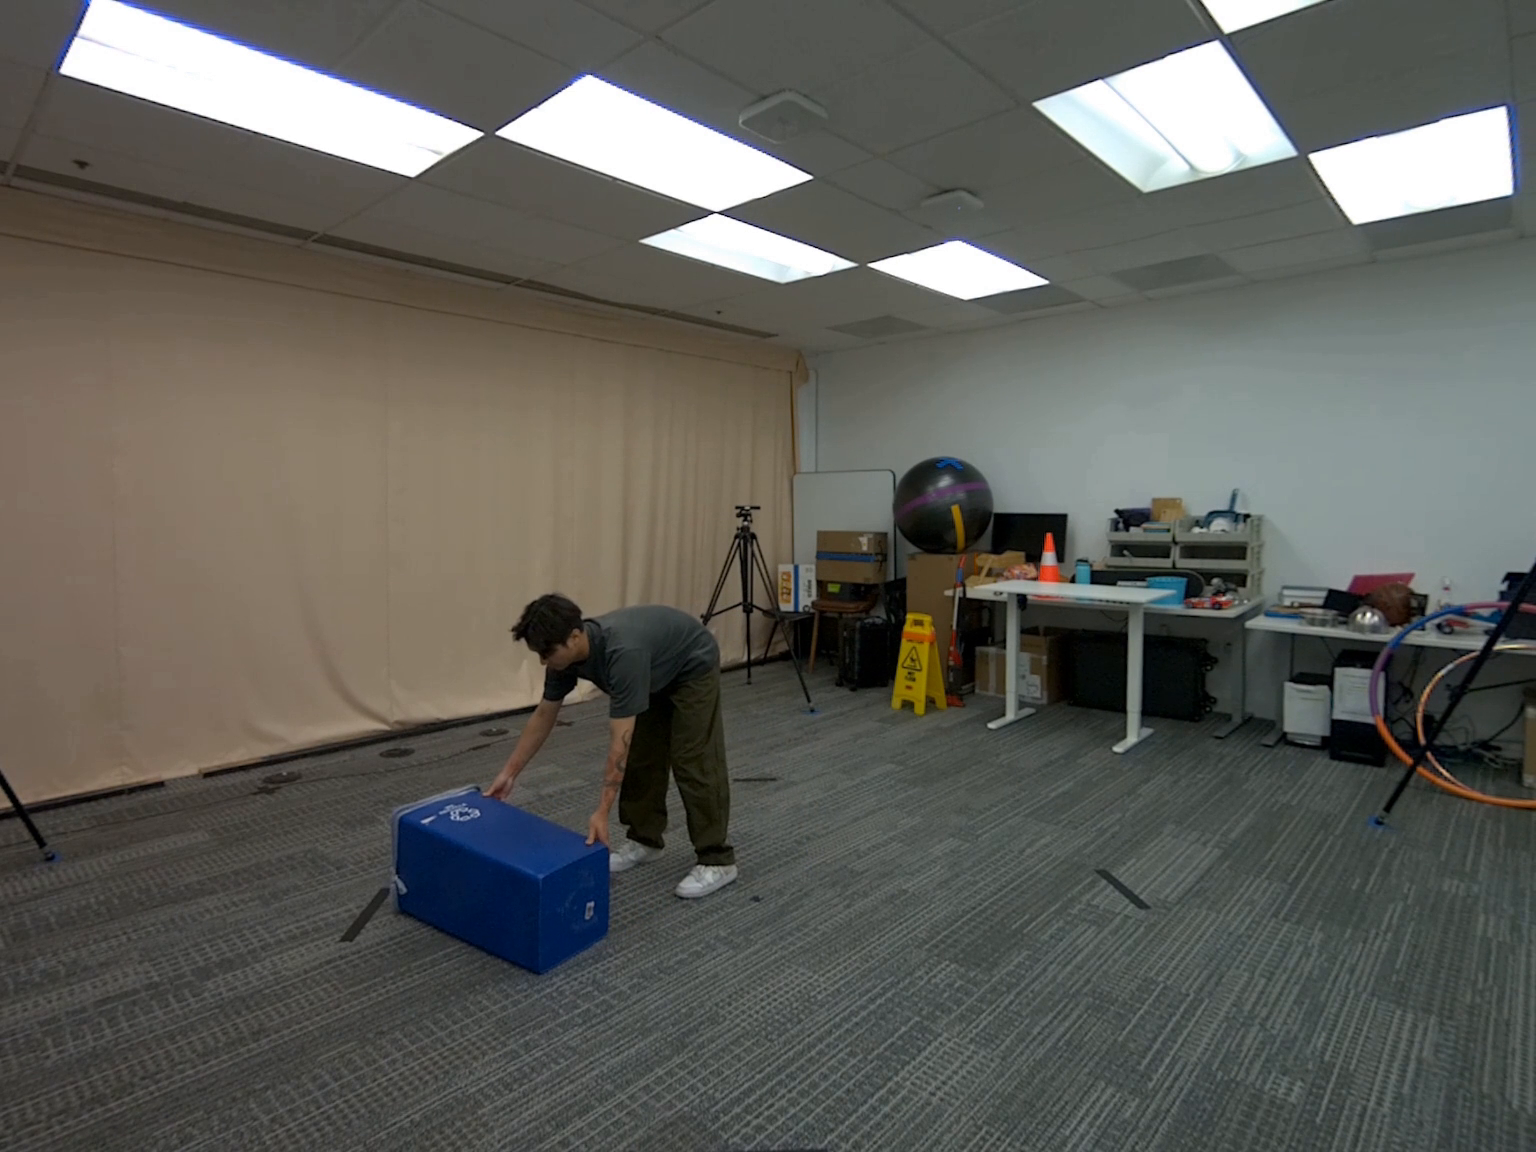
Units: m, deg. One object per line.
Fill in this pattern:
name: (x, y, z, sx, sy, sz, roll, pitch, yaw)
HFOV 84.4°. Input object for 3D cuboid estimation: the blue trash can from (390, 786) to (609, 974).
blue trash can: (-0.897, 0.993, 2.809, 0.736, 0.373, 0.367, 5, 4, 34)
